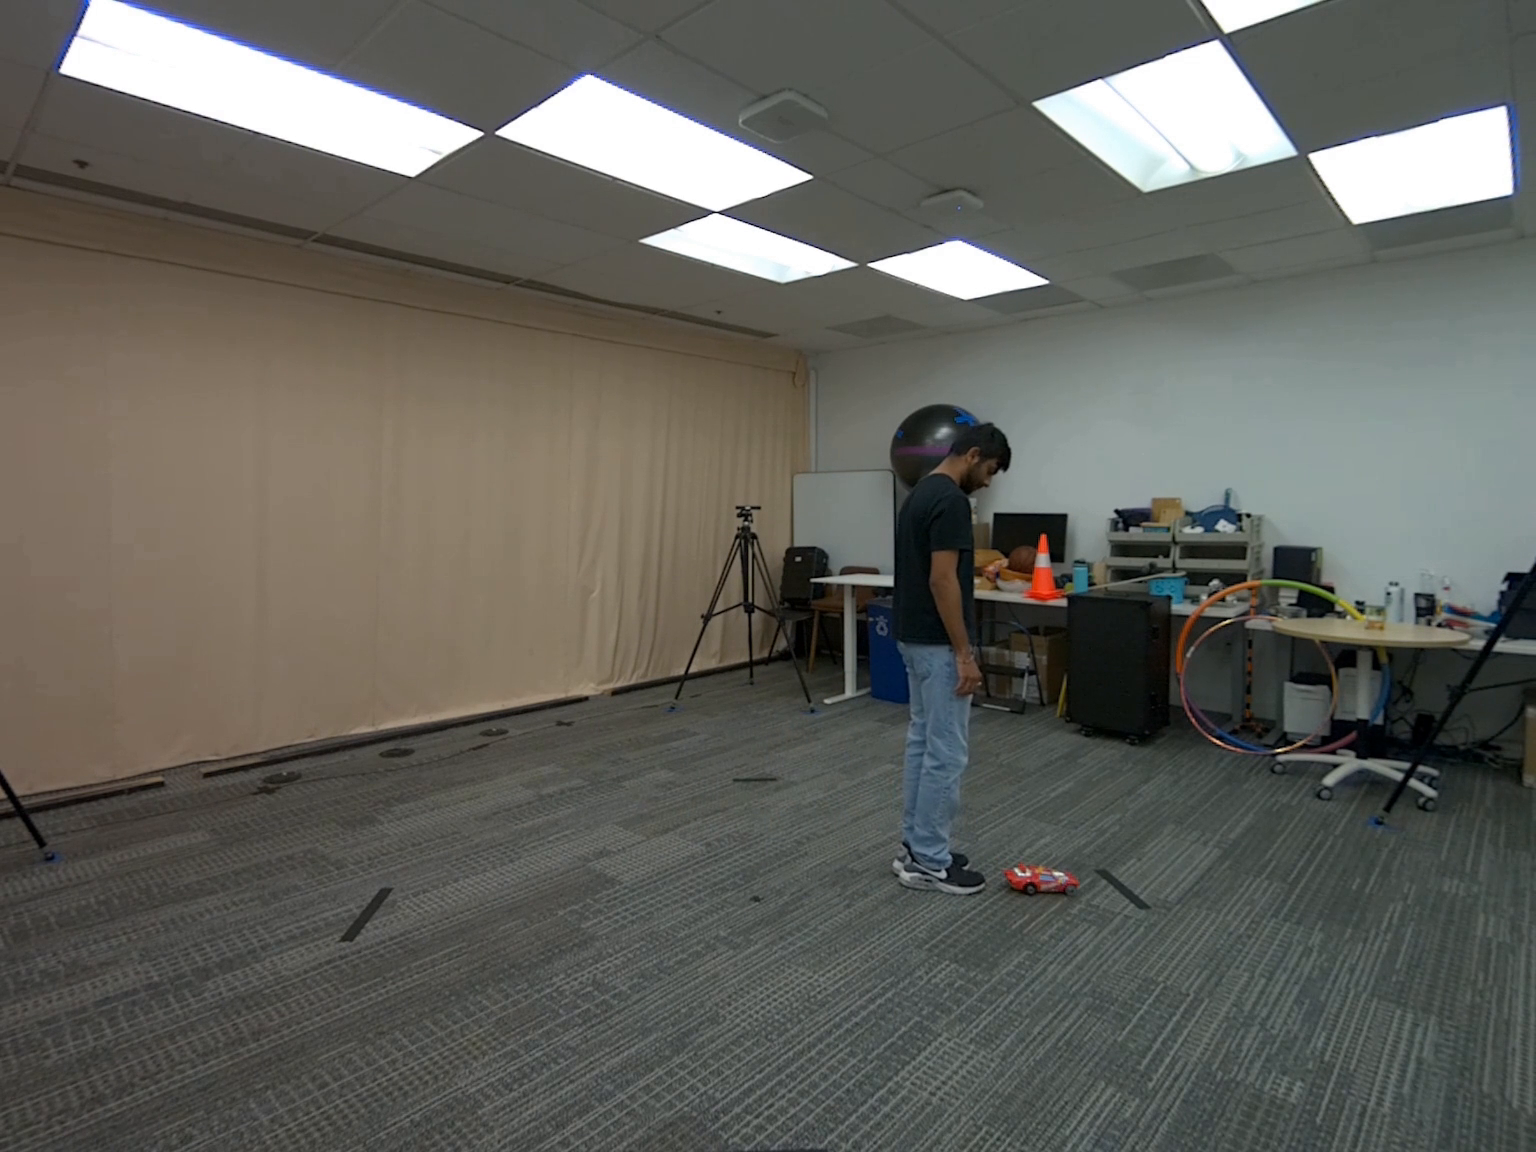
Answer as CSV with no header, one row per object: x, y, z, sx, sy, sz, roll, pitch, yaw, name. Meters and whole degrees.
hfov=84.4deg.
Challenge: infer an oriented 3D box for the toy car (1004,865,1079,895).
0.986,1.107,3.046,0.255,0.083,0.130,11,3,0,toy car
